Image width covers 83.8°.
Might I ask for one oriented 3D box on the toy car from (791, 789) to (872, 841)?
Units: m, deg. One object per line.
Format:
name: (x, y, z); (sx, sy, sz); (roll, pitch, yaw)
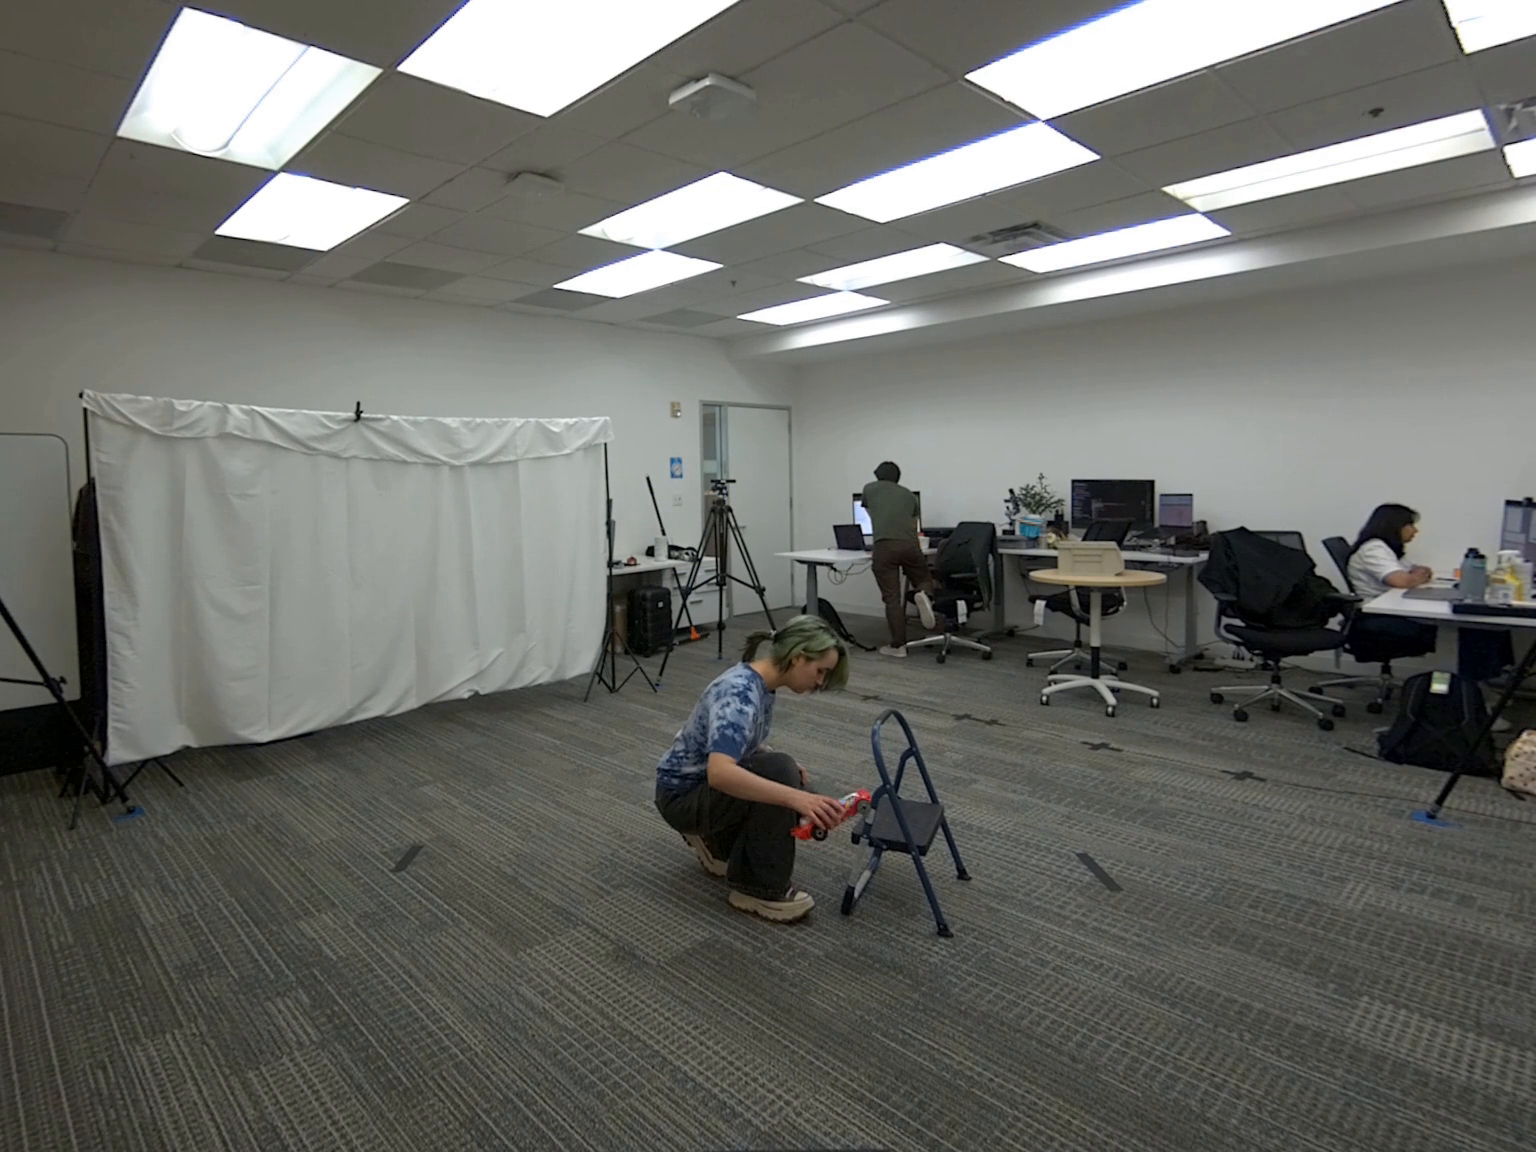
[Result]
toy car: (0.180, 0.709, 2.493); (0.255, 0.083, 0.129); (-18, -3, 4)
